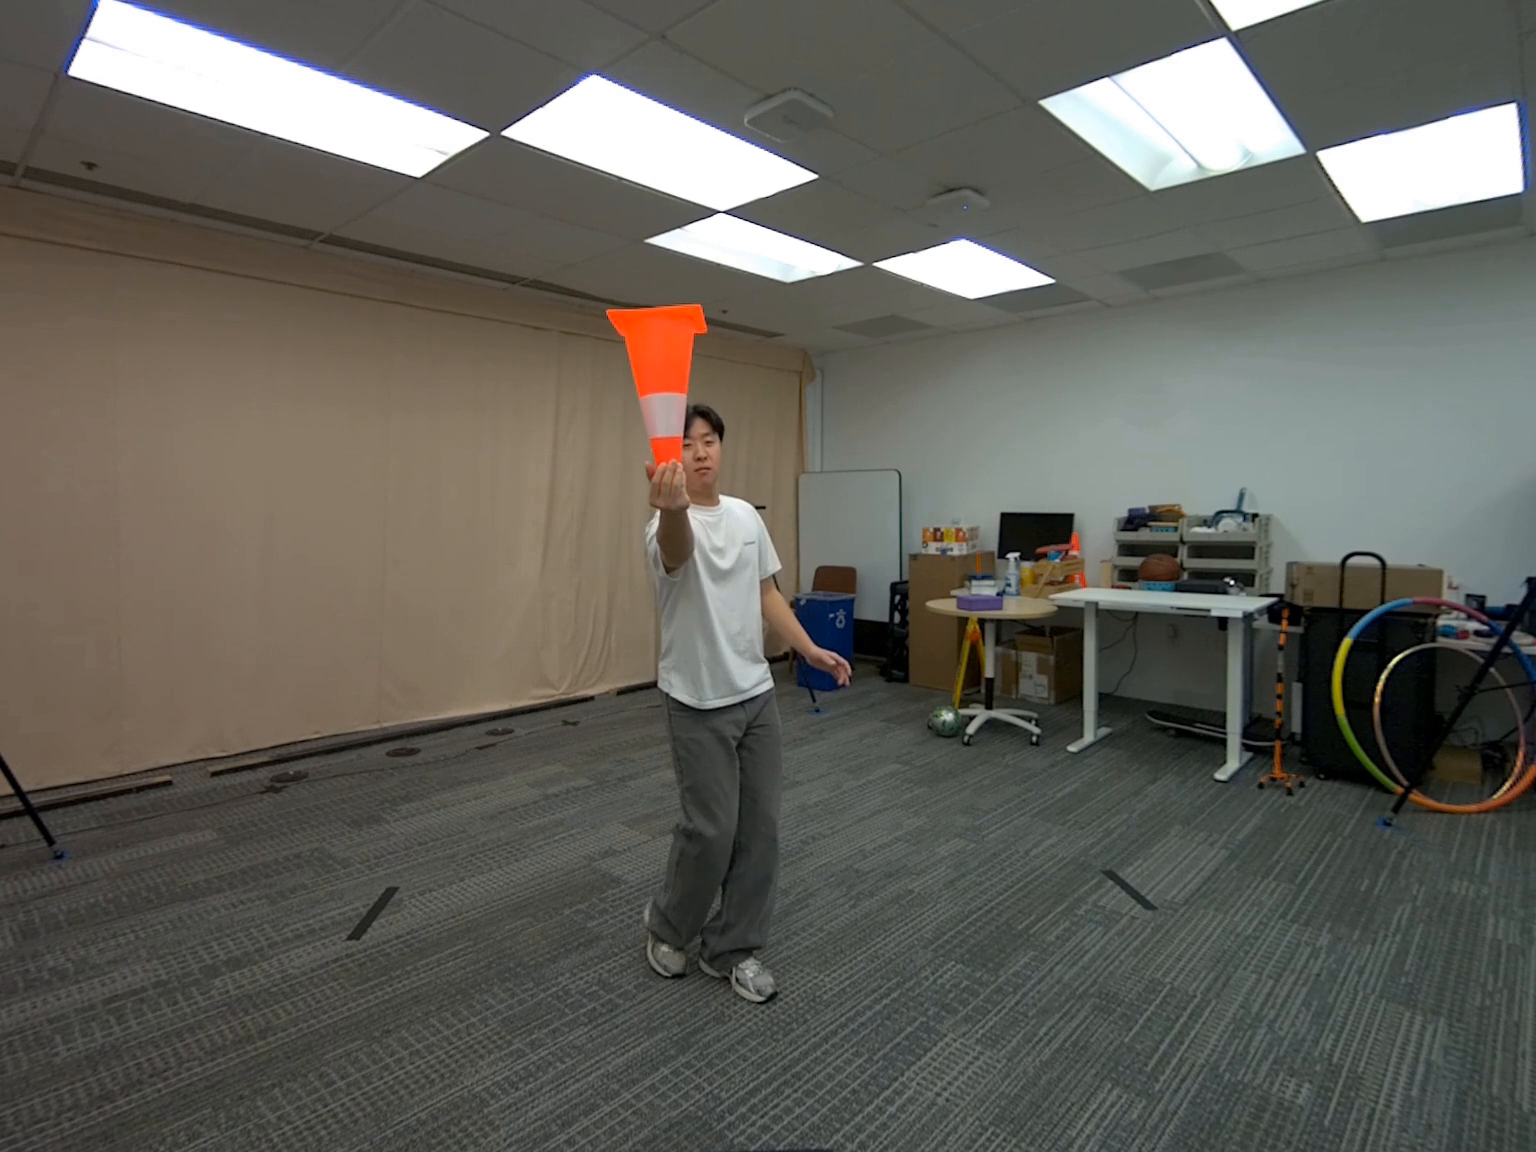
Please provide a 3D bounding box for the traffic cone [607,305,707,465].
[{"bbox_3d":[-0.222,-0.364,1.824,0.204,0.384,0.204,-3,-1,1],"label":"traffic cone"}]
